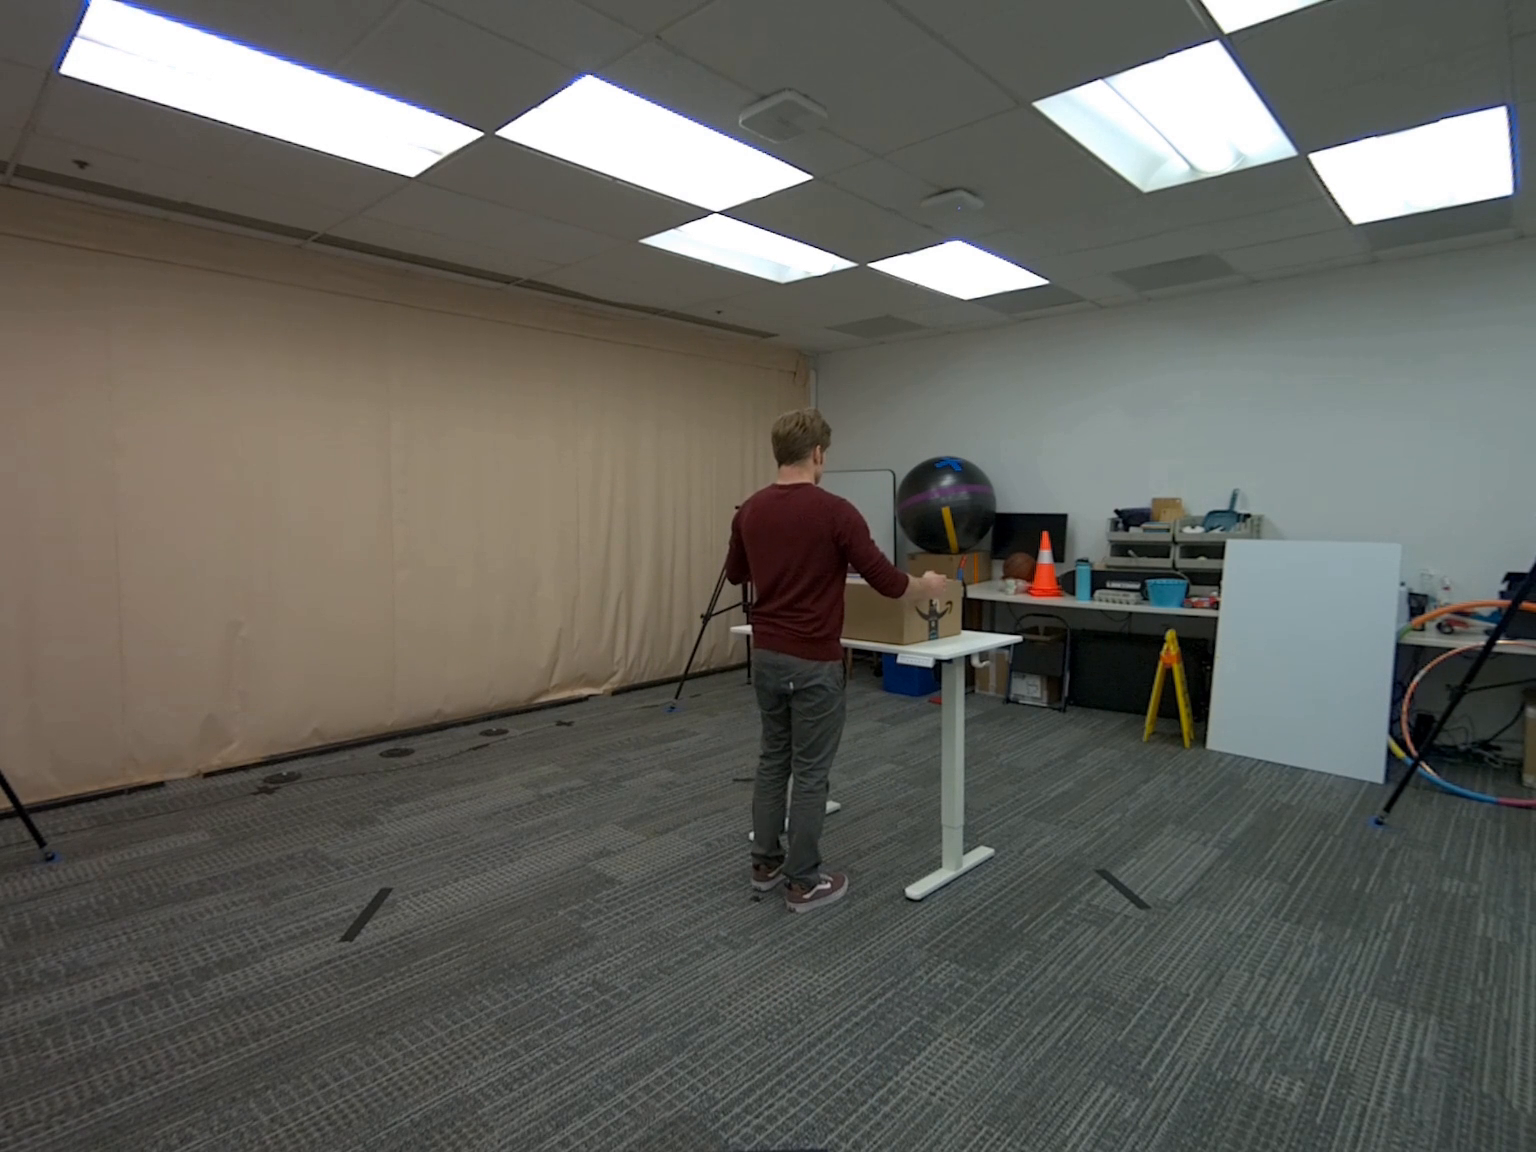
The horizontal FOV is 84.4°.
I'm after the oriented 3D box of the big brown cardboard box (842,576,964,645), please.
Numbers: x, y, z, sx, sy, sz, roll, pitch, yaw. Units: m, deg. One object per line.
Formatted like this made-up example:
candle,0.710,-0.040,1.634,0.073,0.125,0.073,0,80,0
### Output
big brown cardboard box,0.411,0.116,3.368,0.609,0.232,0.405,4,6,42
